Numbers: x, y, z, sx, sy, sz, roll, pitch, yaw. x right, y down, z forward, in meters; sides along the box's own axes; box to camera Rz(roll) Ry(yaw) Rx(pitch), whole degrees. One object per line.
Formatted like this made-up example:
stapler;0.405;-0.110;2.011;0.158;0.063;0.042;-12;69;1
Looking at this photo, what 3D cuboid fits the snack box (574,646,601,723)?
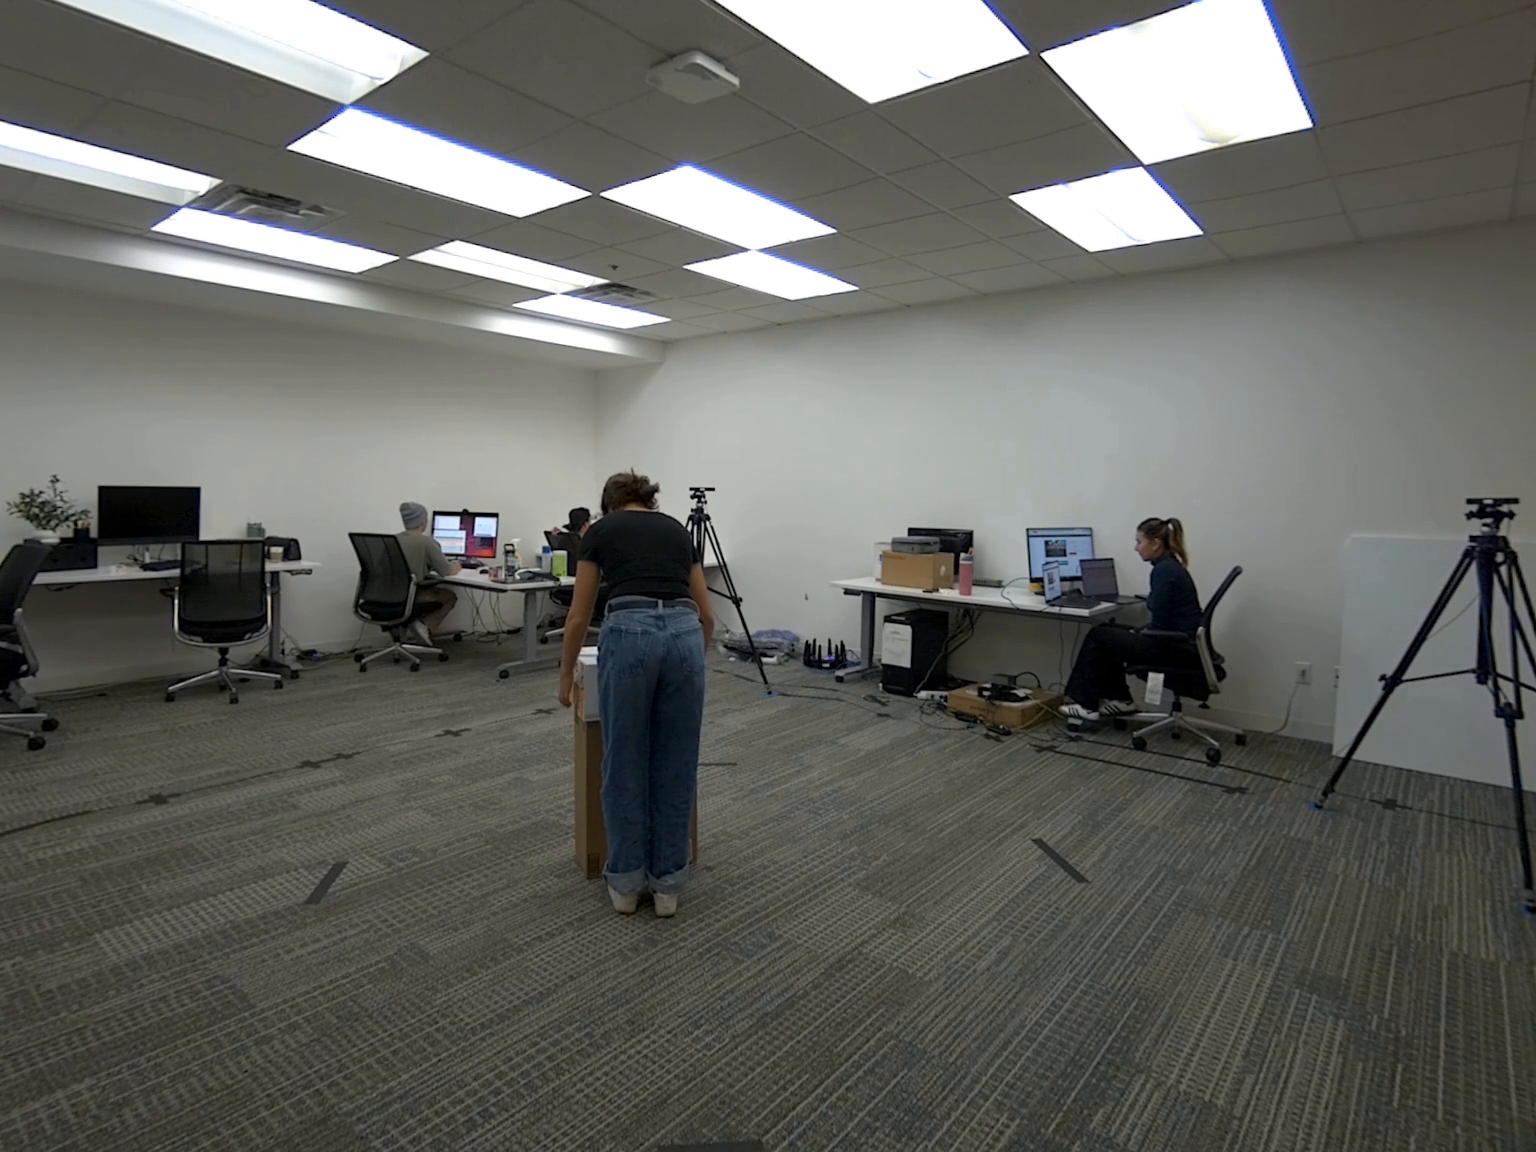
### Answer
snack box;-0.534;0.385;3.175;0.396;0.205;0.349;-1;5;-24
